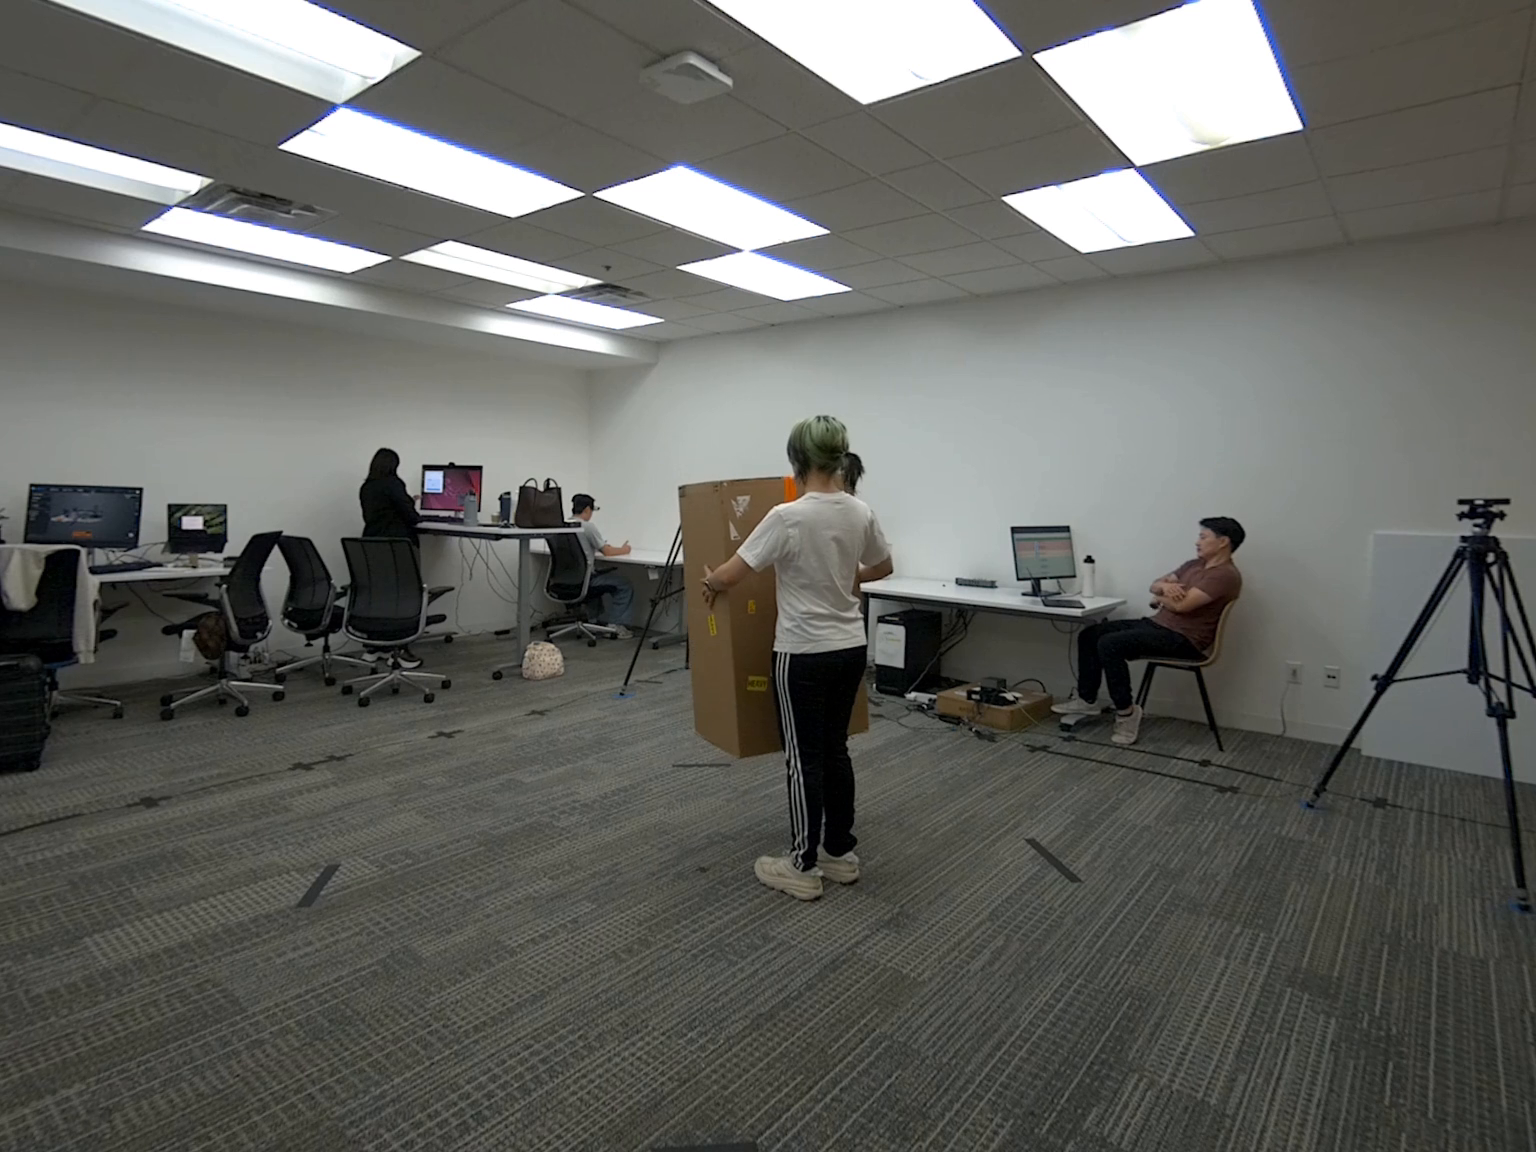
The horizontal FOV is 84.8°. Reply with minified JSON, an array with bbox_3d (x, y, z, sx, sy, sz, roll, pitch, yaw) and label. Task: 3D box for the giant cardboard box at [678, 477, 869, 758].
[{"bbox_3d":[0.005,0.121,3.388,0.565,1.023,0.437,-5,3,-26],"label":"giant cardboard box"}]
